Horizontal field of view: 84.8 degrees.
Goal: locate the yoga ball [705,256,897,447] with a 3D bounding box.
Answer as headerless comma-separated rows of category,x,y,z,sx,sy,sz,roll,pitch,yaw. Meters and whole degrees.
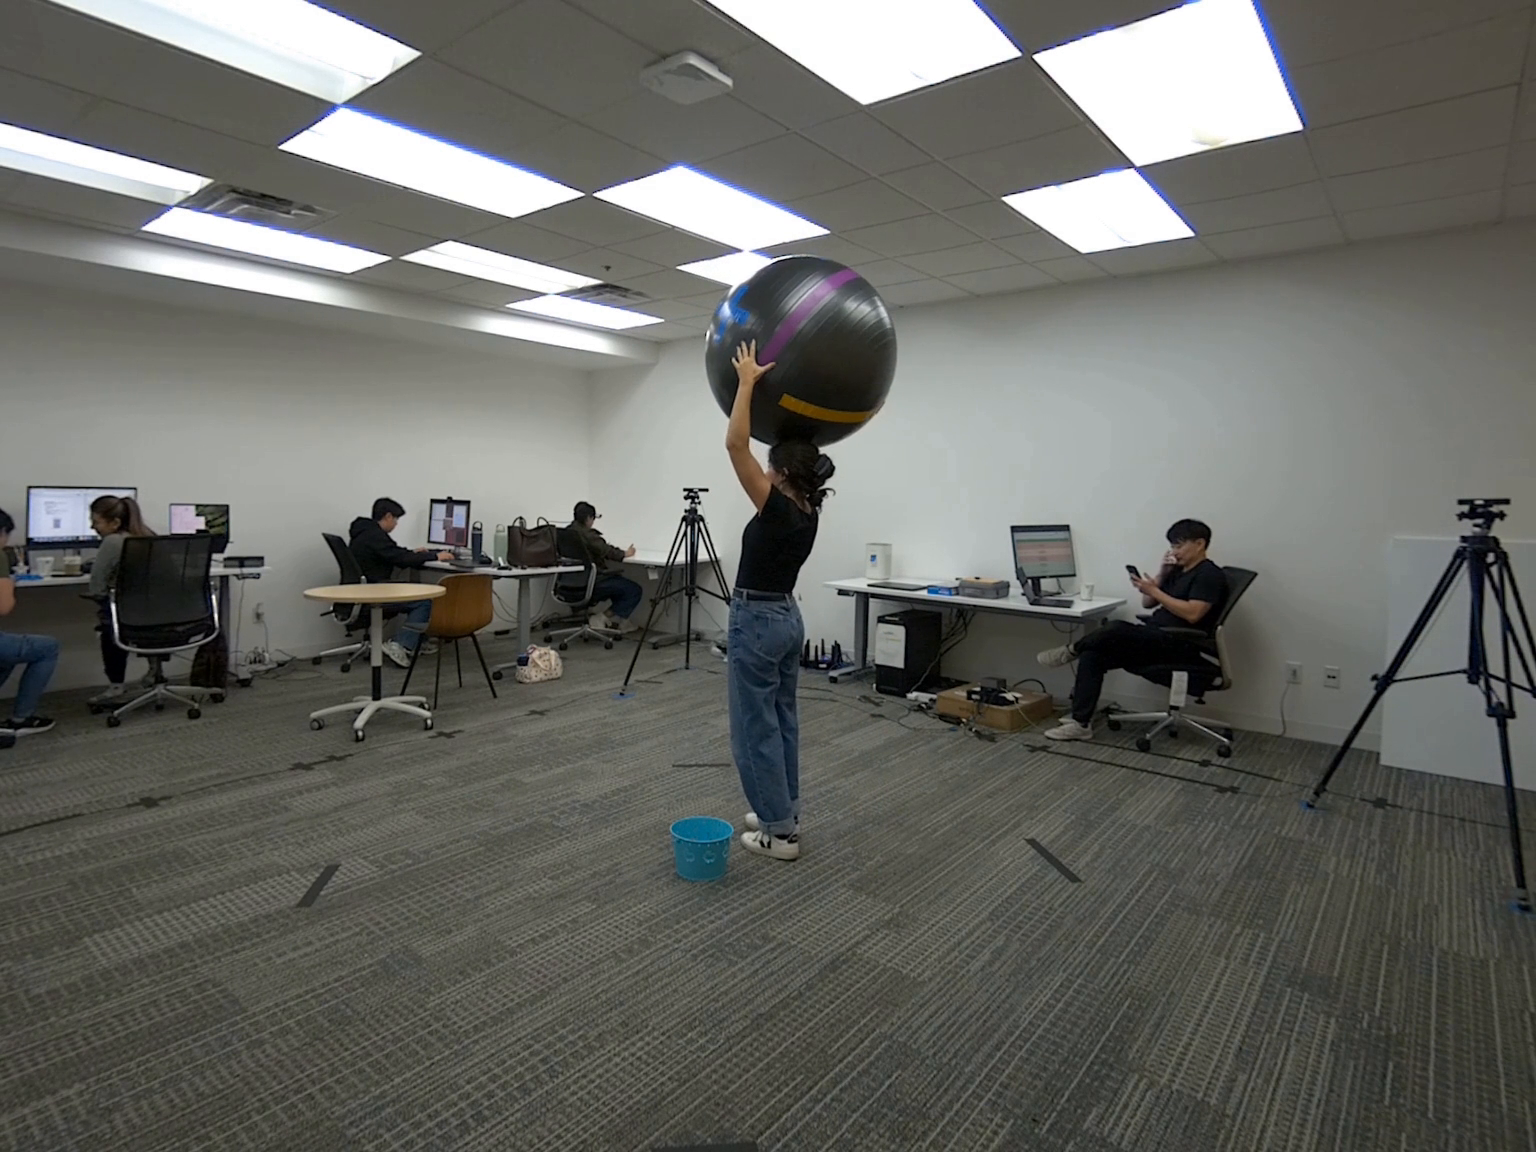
yoga ball,0.112,-0.889,3.396,0.757,0.756,0.762,1,4,-2
